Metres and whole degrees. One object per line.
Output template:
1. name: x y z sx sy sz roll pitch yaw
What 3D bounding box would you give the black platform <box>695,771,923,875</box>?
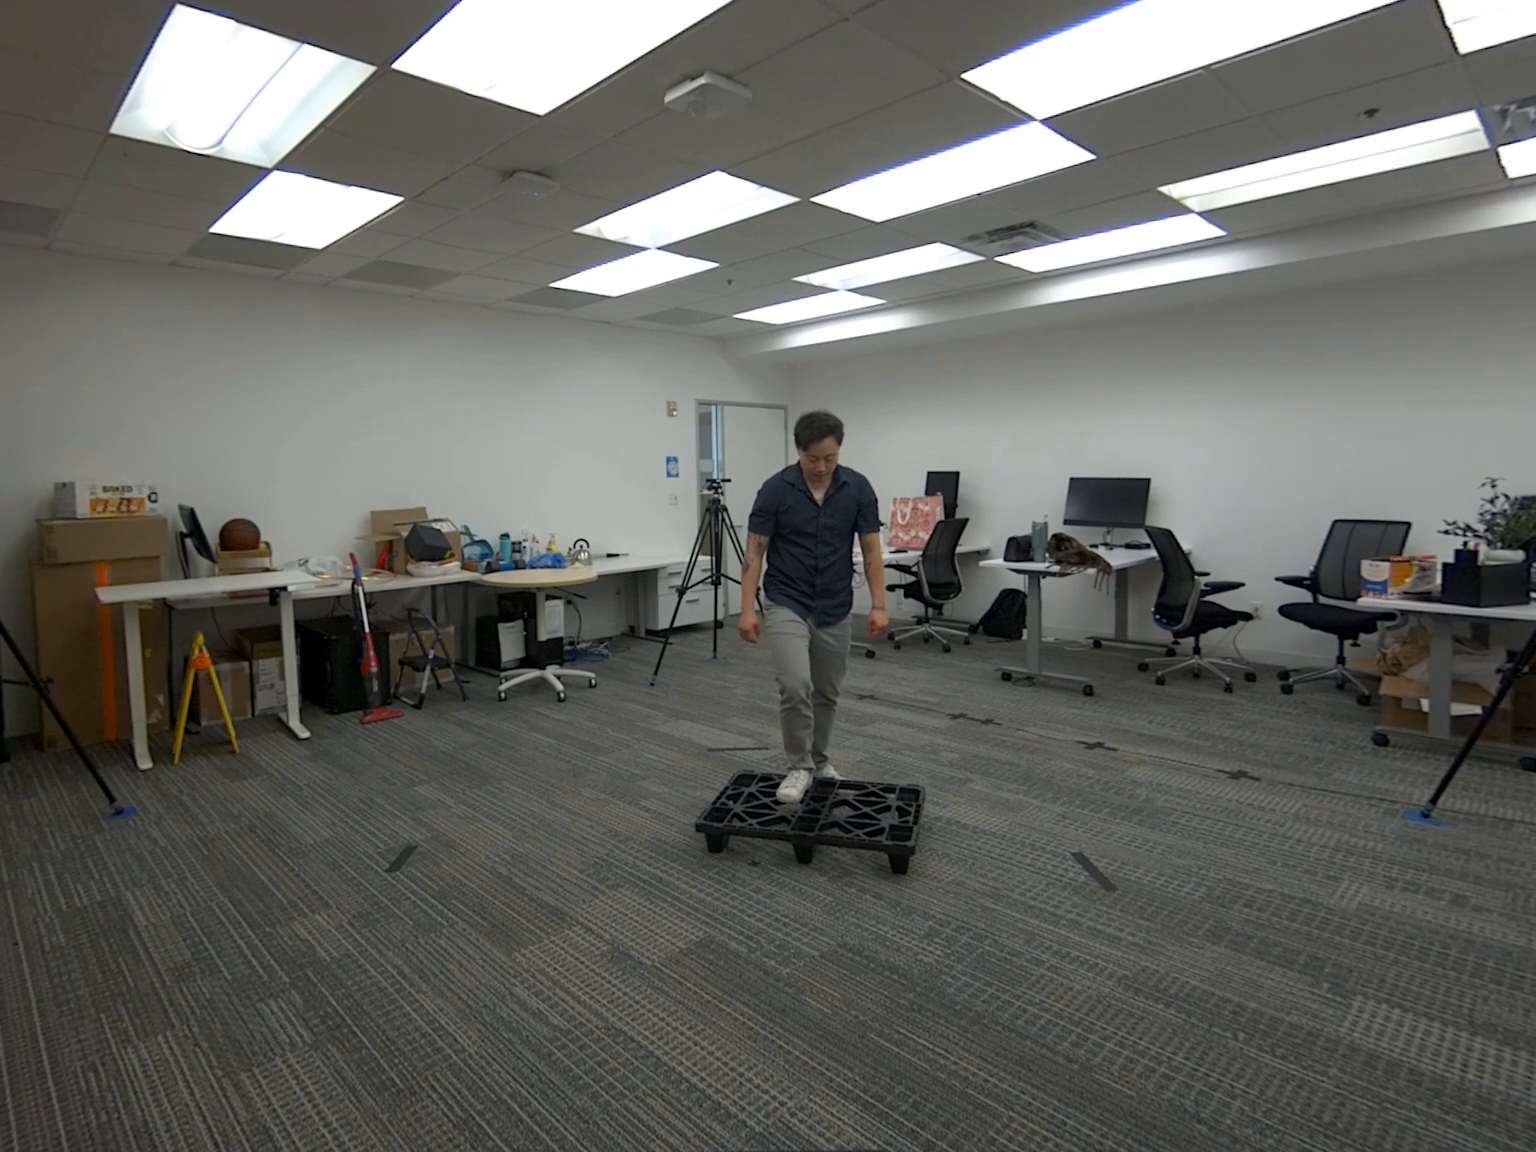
1. black platform: 0.183 0.949 3.323 0.819 0.143 0.598 1 6 16
